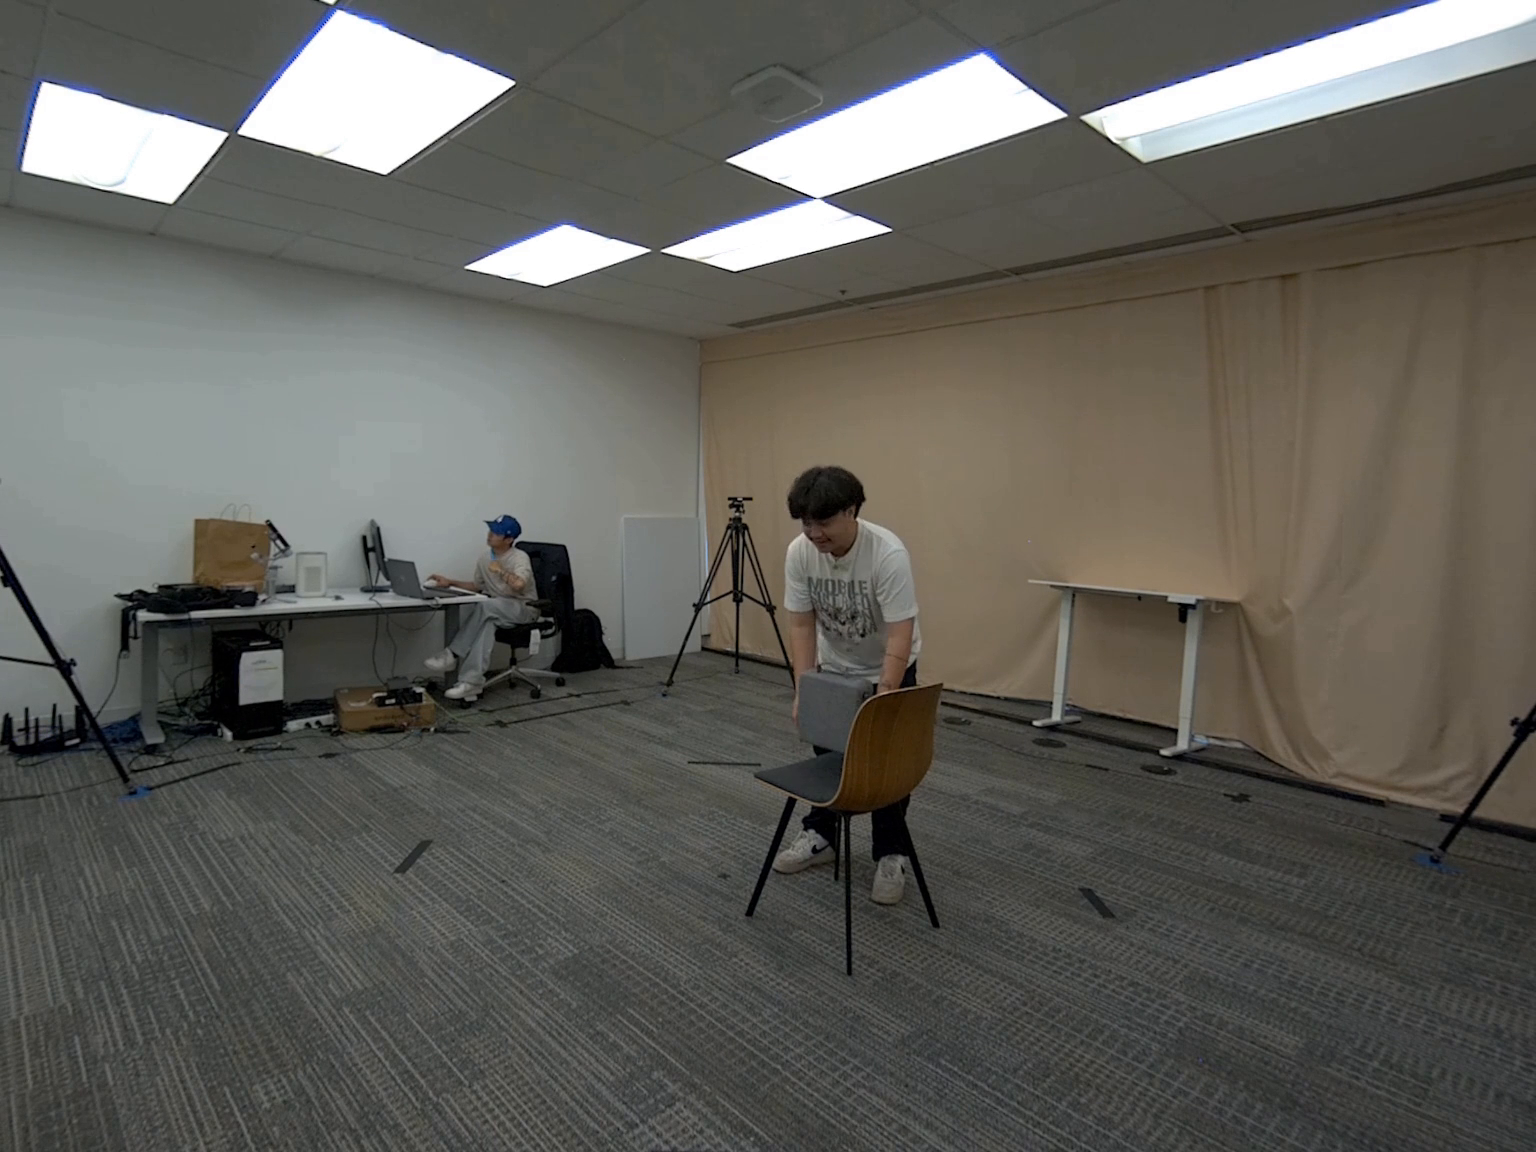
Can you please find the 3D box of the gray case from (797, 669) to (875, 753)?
[{"bbox_3d":[0.216,0.445,2.827,0.263,0.259,0.102,6,9,42],"label":"gray case"}]
